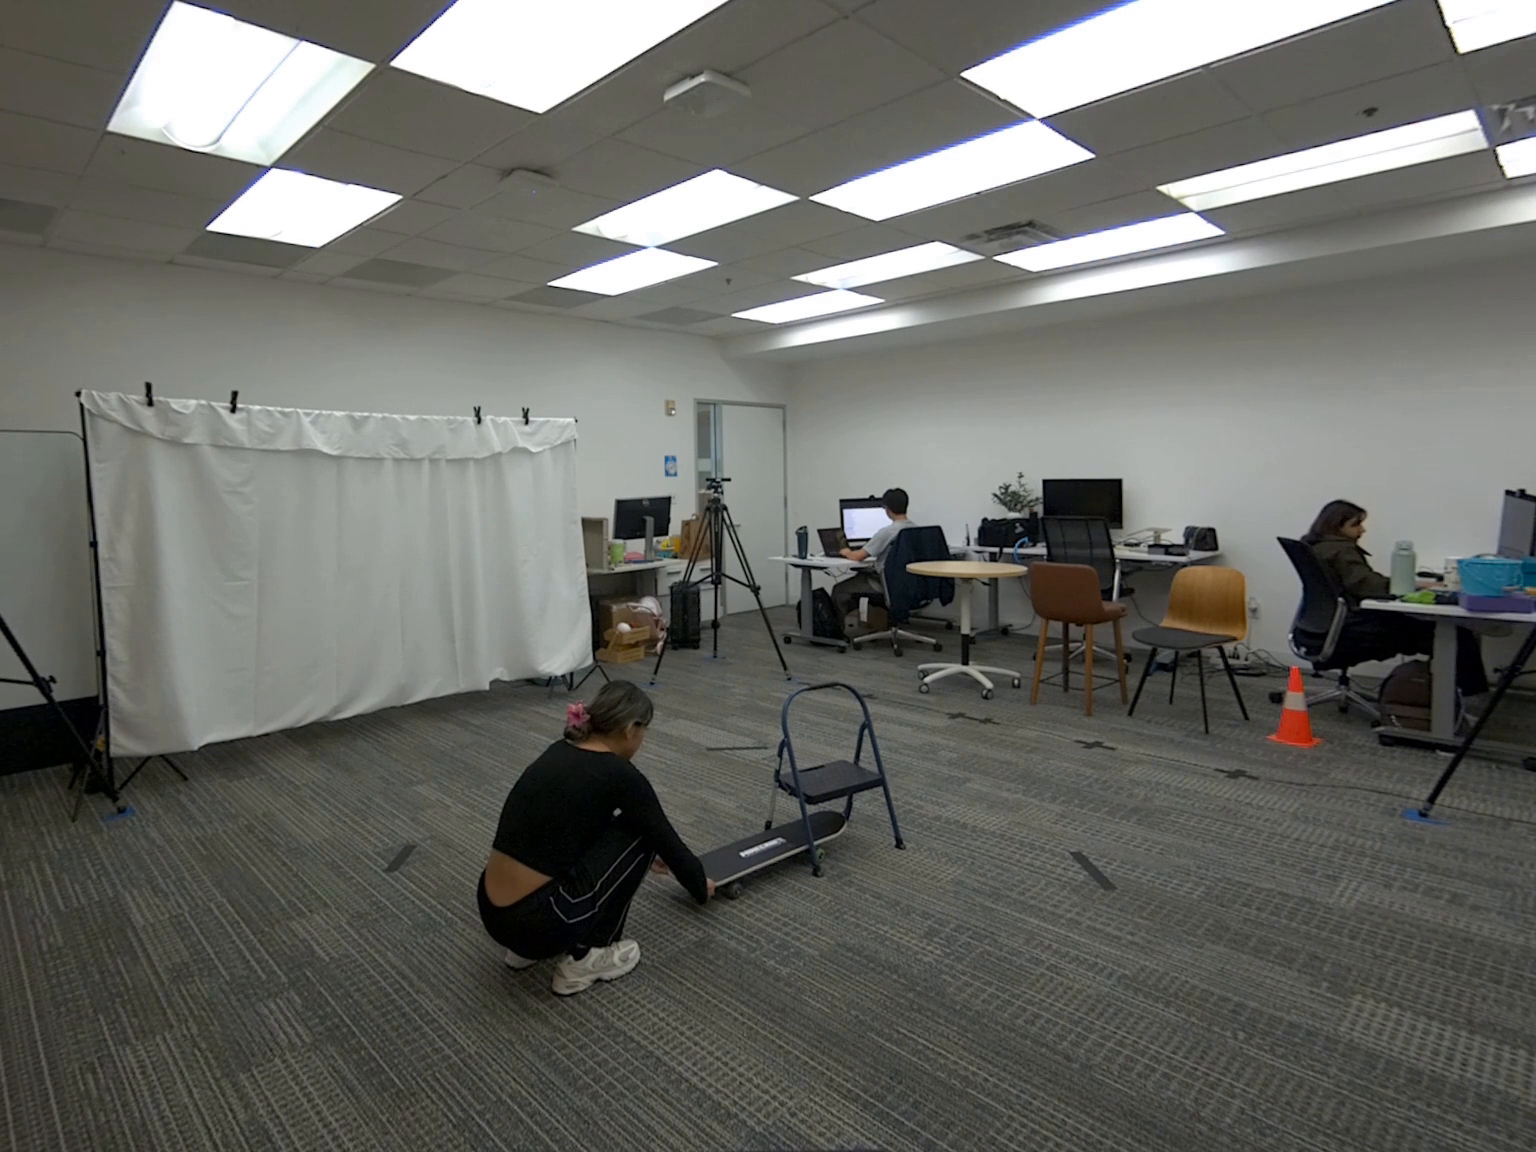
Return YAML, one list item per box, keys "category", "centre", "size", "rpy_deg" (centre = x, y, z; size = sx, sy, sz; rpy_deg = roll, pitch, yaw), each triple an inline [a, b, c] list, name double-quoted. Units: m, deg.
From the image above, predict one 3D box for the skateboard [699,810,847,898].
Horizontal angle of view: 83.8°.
- category: "skateboard"
  centre: [-0.018, 0.986, 3.035]
  size: [0.766, 0.110, 0.199]
  rpy_deg: [-8, 9, -40]
